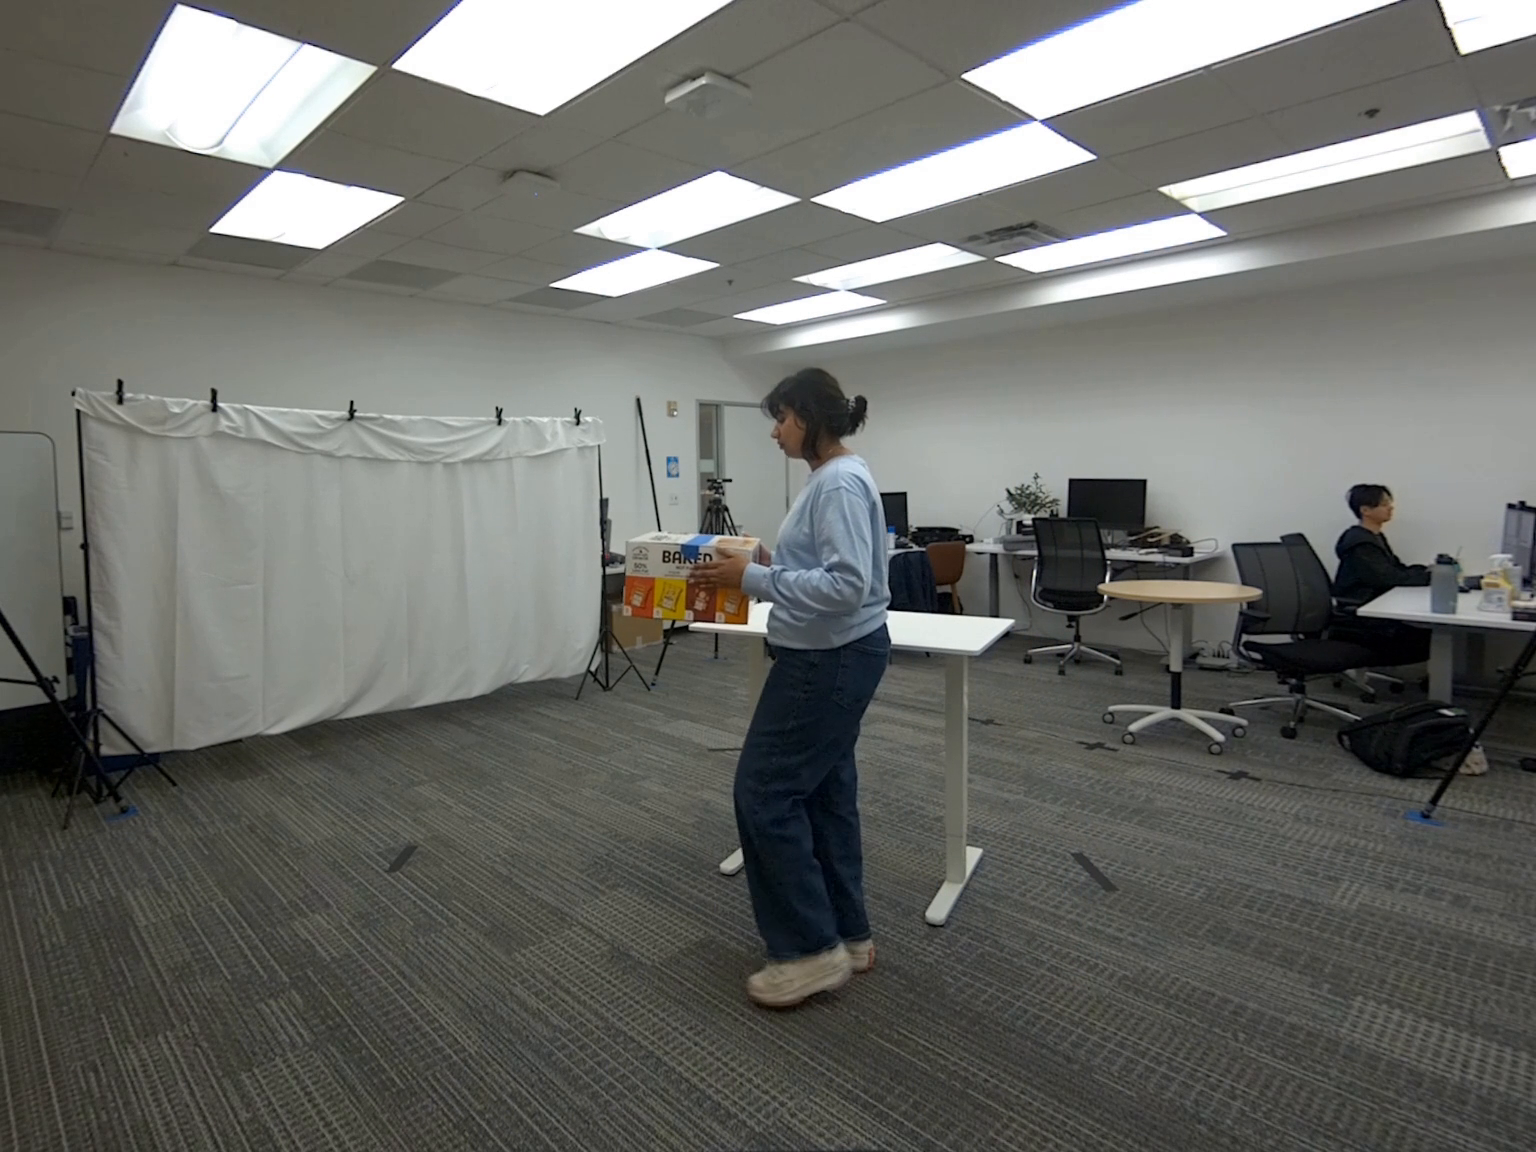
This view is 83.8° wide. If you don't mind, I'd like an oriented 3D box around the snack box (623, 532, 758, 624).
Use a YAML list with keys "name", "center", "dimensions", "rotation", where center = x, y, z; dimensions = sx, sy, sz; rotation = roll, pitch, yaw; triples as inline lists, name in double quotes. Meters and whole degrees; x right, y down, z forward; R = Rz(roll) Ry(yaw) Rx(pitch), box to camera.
- name: "snack box"
  center: [-0.202, -0.007, 2.455]
  dimensions: [0.342, 0.205, 0.405]
  rotation: [4, 6, 4]
